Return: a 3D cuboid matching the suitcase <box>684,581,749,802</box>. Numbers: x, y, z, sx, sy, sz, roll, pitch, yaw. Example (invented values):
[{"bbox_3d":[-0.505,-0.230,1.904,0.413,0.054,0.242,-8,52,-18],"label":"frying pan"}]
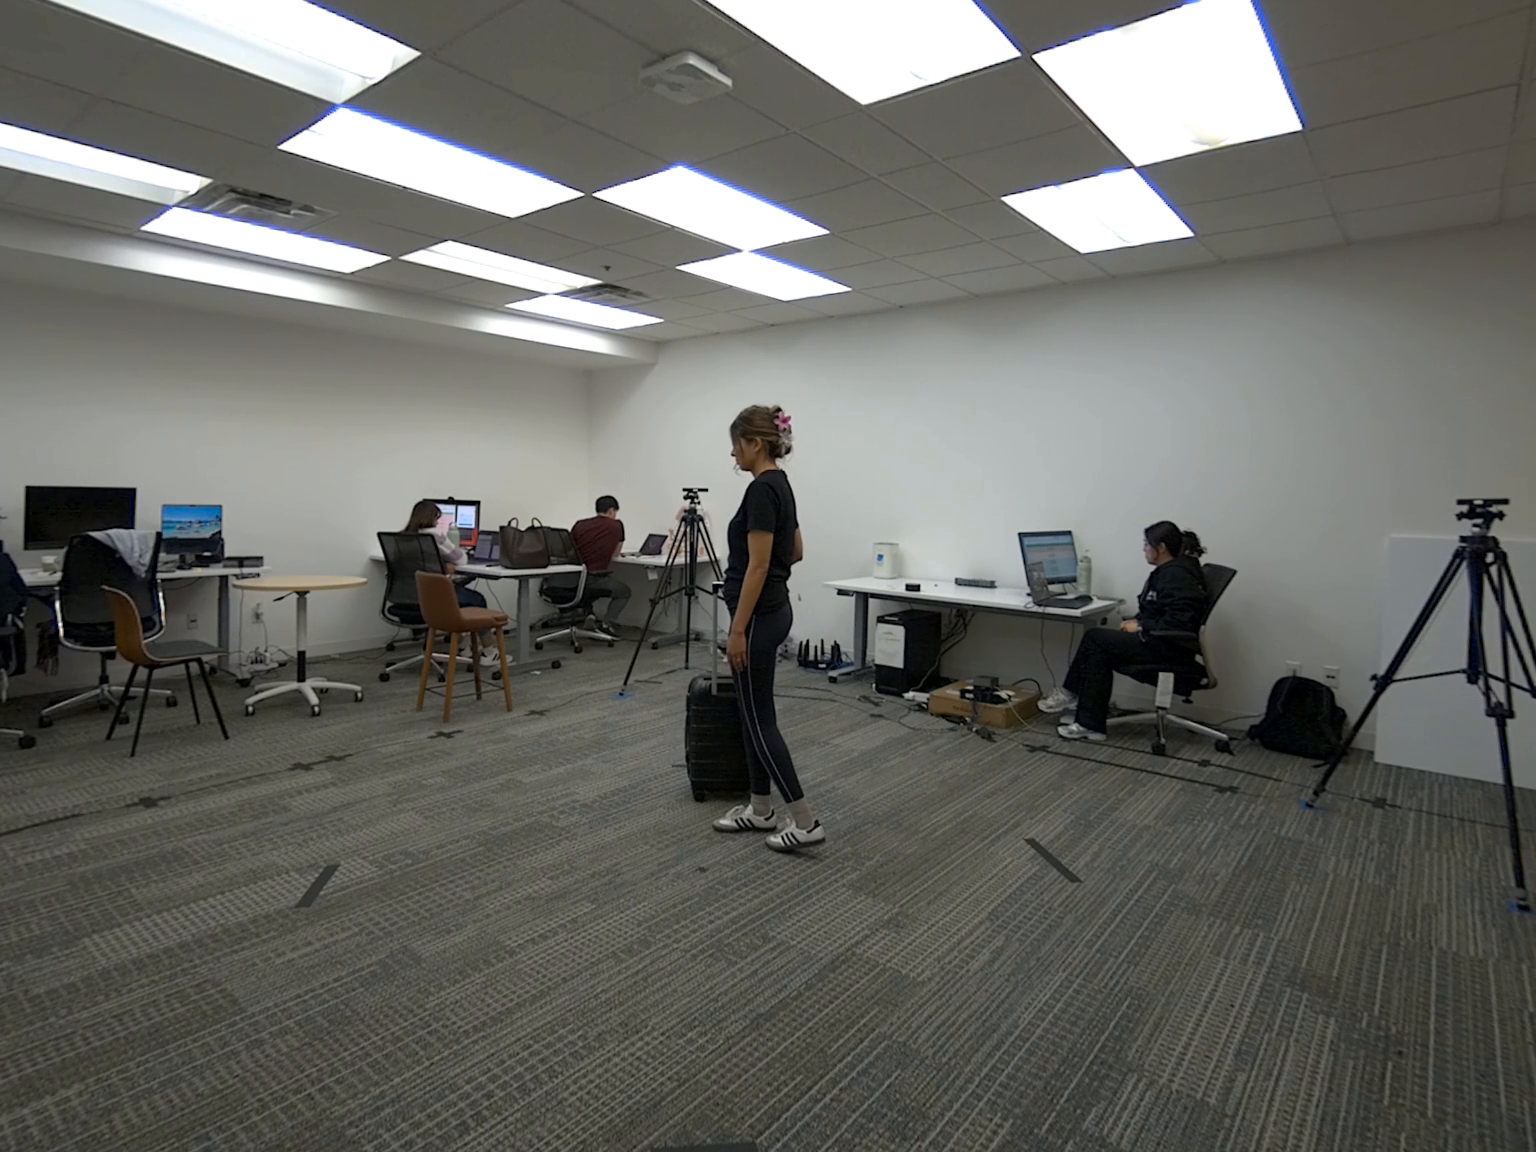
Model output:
[{"bbox_3d":[-0.198,0.517,3.883,0.383,0.978,0.258,0,1,-3],"label":"suitcase"}]
